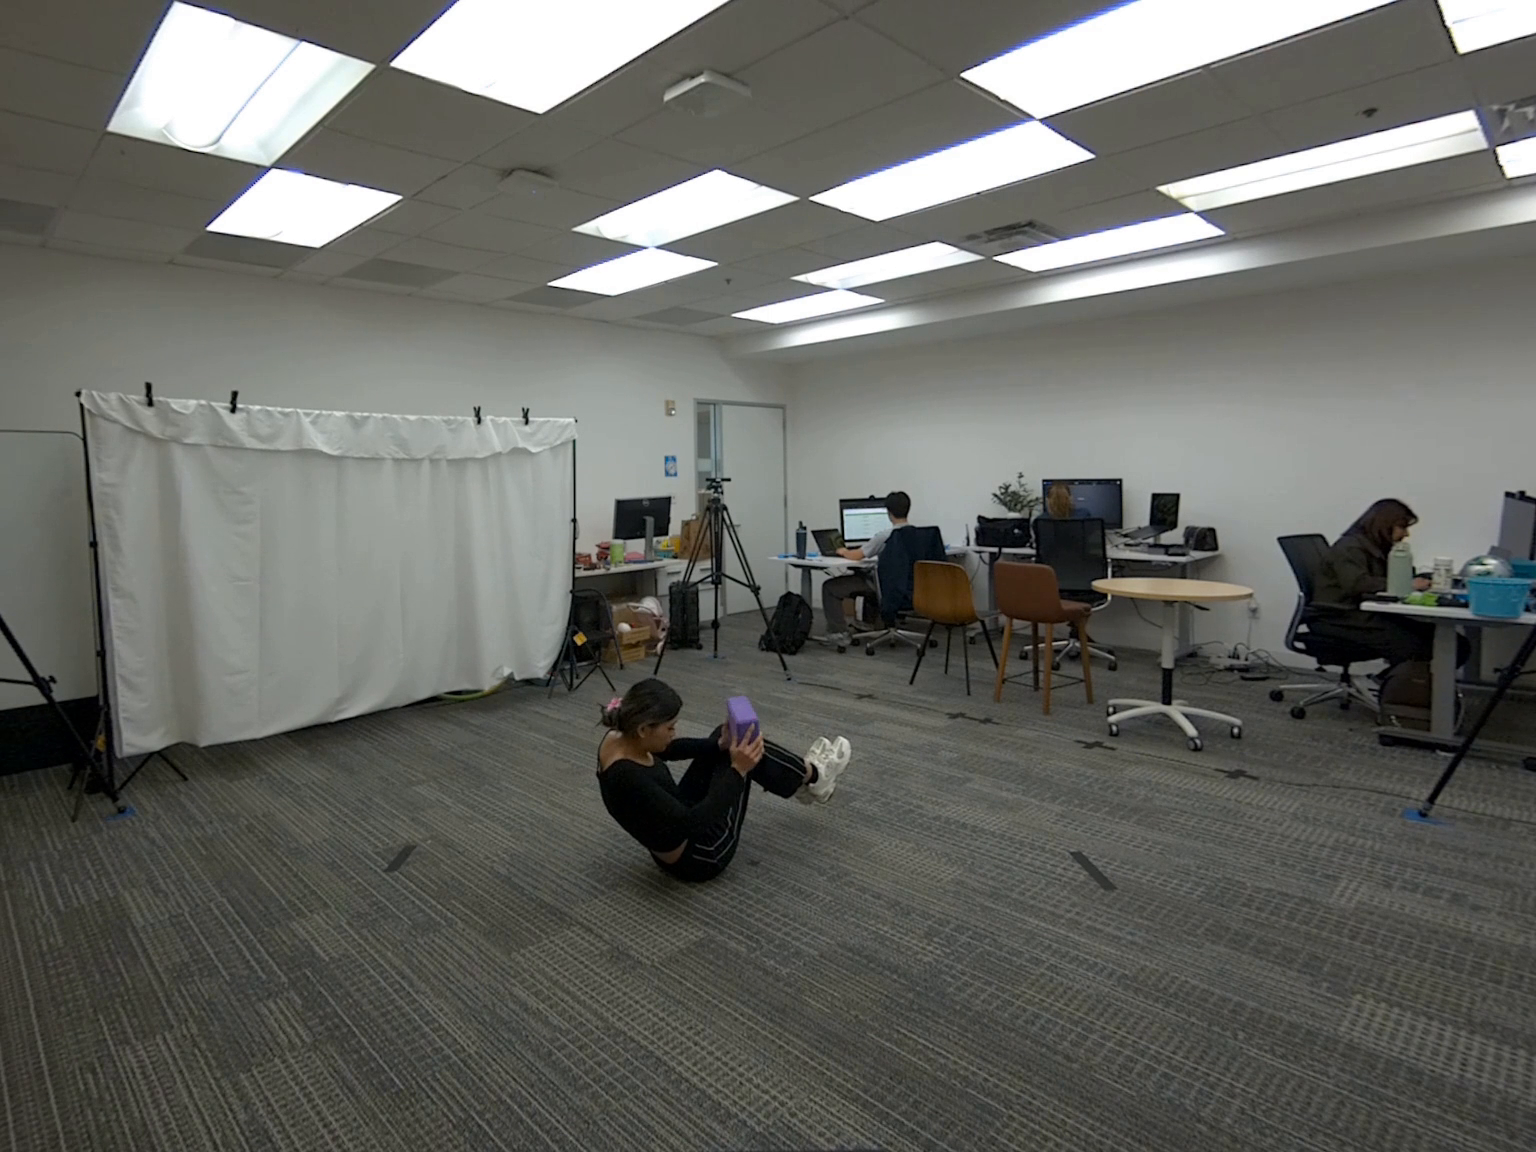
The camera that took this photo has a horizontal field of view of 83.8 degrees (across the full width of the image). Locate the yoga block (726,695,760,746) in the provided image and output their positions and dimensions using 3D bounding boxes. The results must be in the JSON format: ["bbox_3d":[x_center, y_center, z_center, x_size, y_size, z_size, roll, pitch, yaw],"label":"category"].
[{"bbox_3d":[-0.086,0.521,2.909,0.076,0.147,0.232,-5,11,-5],"label":"yoga block"}]
